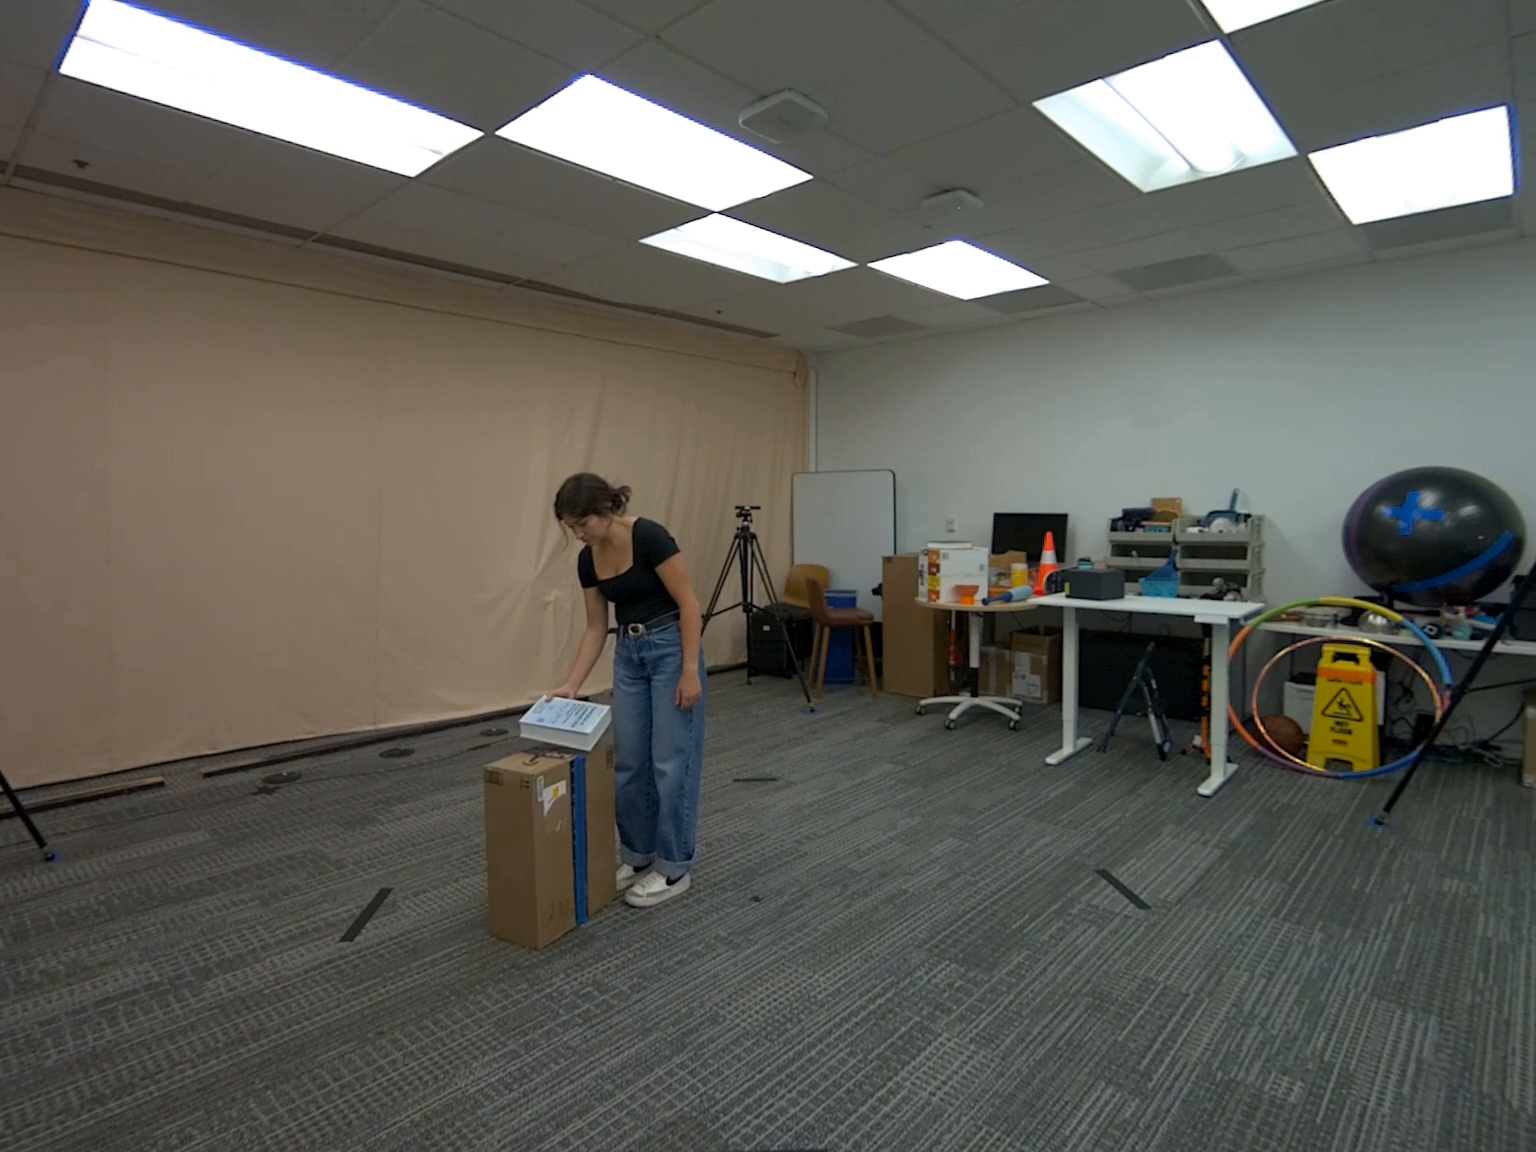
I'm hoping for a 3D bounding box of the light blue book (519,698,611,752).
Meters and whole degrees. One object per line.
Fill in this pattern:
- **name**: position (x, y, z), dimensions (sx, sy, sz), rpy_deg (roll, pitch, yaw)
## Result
- **light blue book**: position (-0.691, 0.494, 2.899), dimensions (0.265, 0.058, 0.190), rpy_deg (5, 21, 14)
